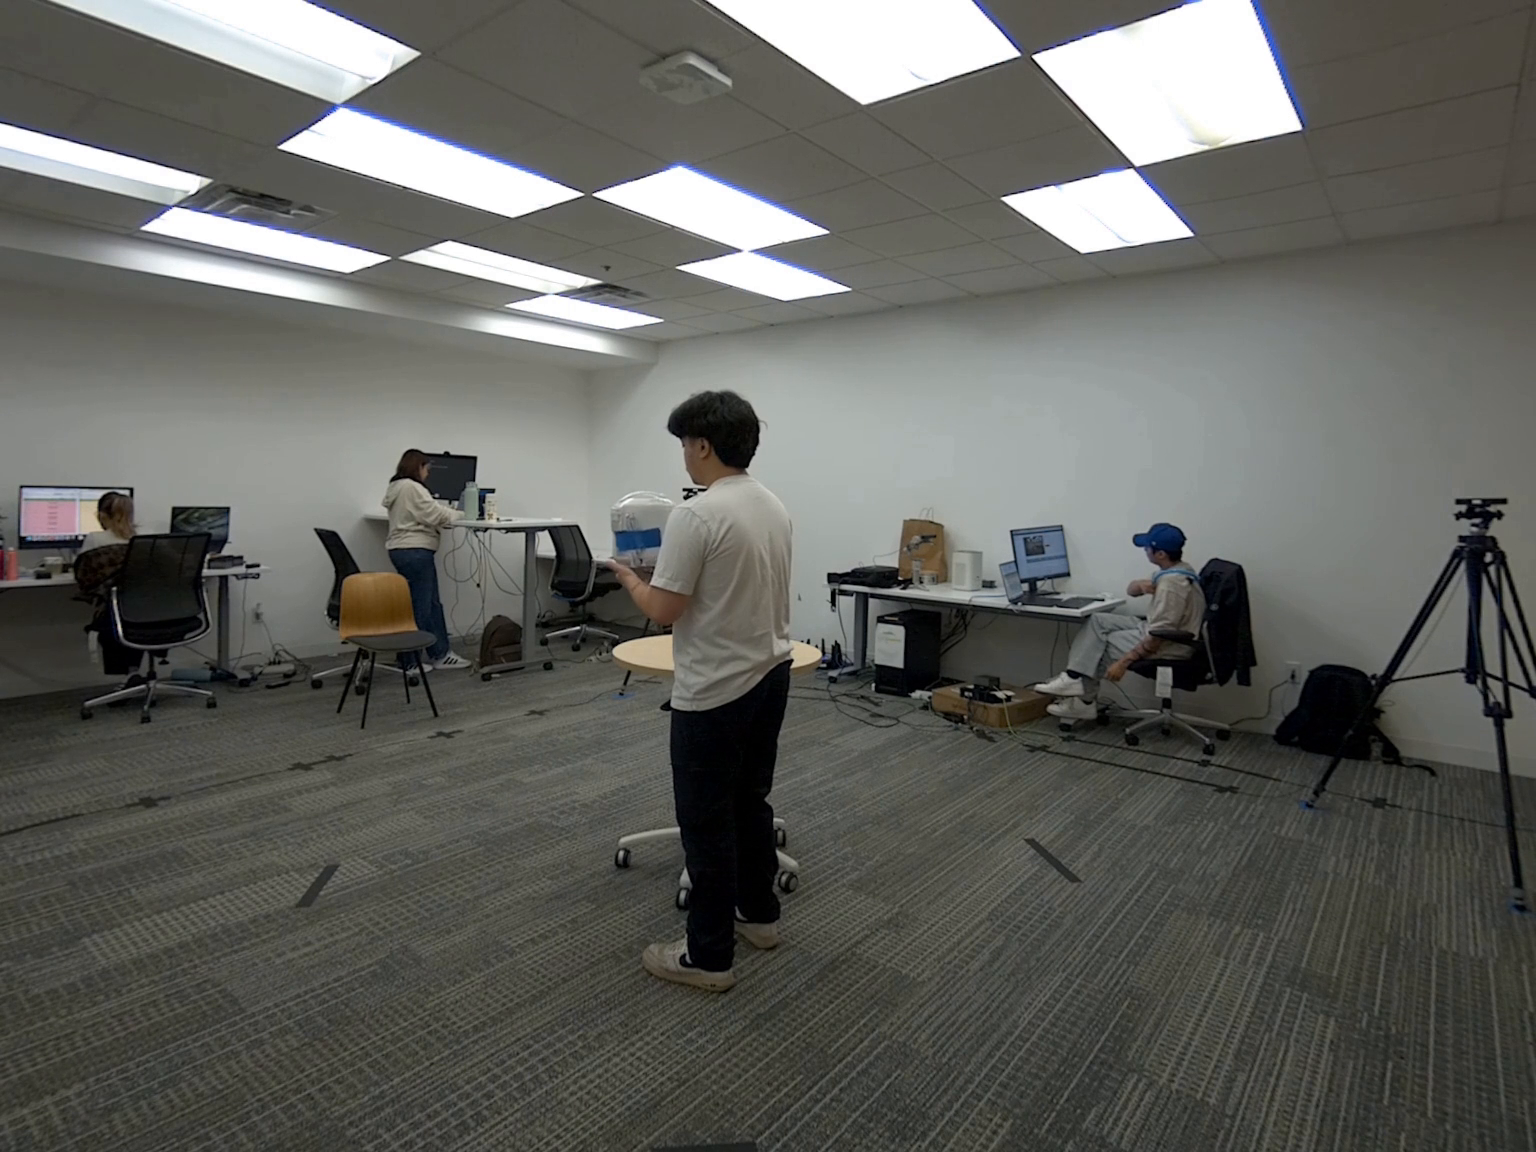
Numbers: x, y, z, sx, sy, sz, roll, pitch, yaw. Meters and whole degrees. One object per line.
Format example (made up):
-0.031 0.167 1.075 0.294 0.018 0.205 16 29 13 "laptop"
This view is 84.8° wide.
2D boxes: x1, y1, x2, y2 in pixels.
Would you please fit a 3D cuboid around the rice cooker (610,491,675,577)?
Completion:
-0.392 -0.150 2.667 0.214 0.232 0.224 -1 3 -35 "rice cooker"
